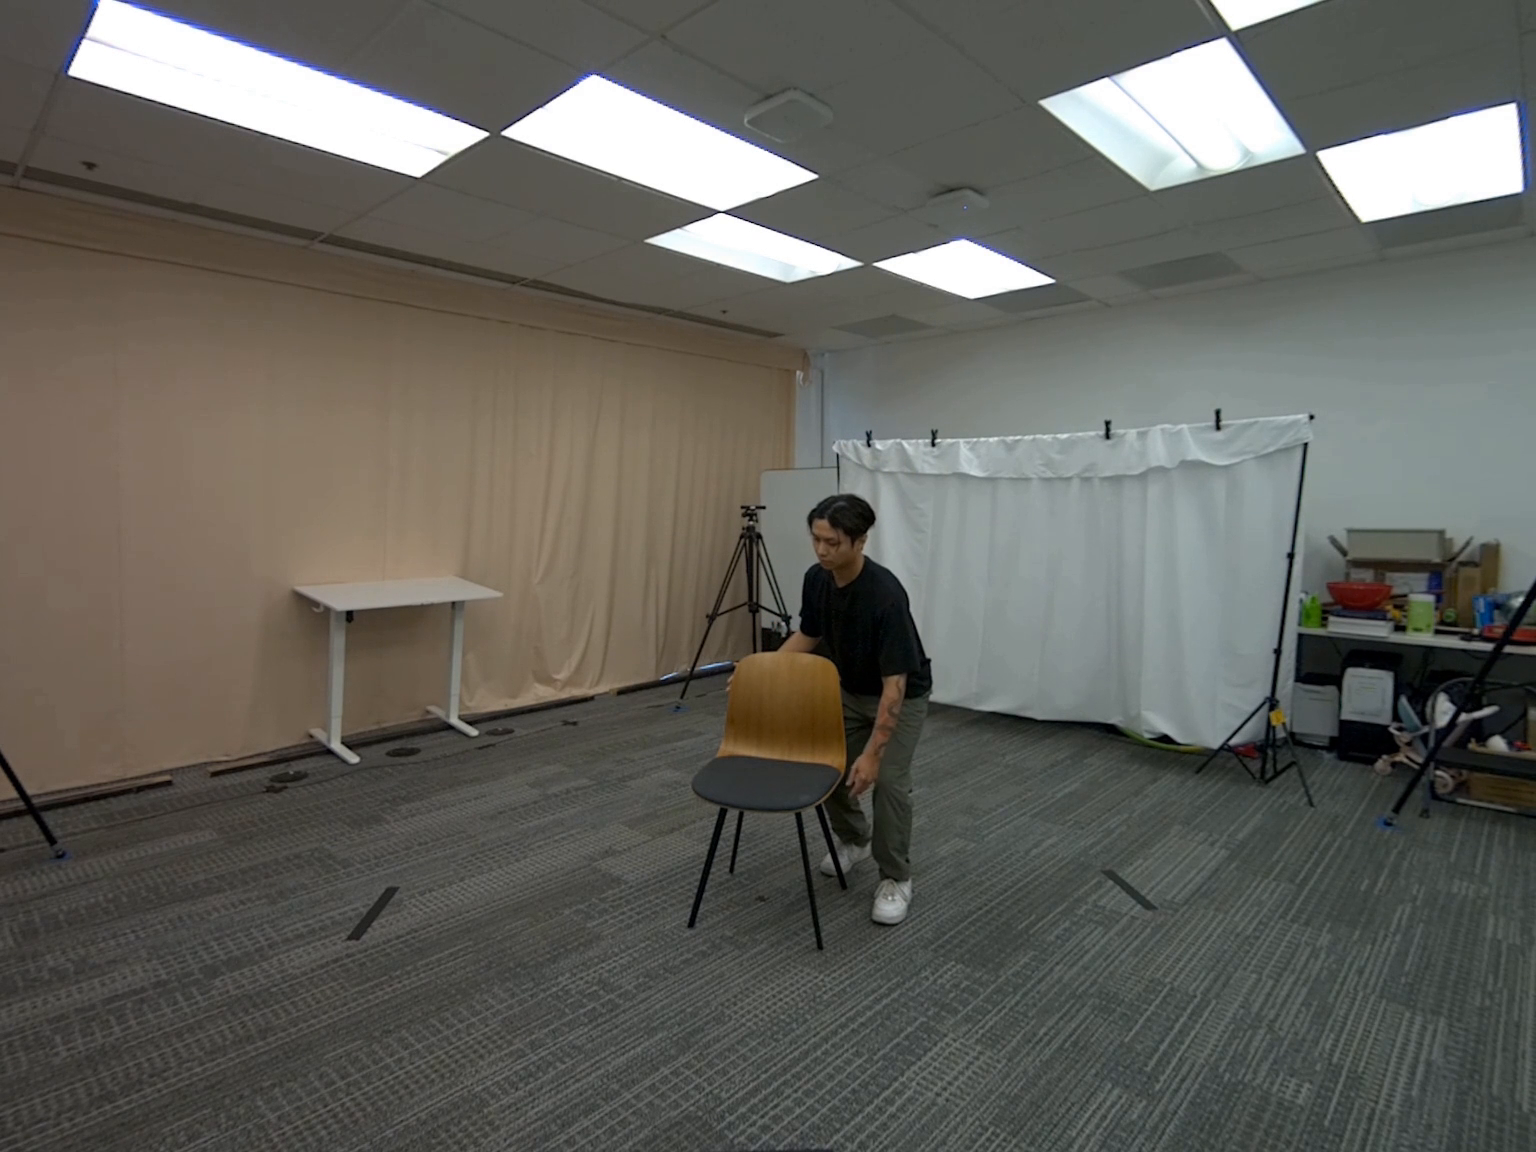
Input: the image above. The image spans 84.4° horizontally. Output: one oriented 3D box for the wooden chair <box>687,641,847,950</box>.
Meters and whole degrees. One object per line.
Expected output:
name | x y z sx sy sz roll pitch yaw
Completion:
wooden chair | 0.014 0.728 2.880 0.487 0.878 0.513 2 0 17
